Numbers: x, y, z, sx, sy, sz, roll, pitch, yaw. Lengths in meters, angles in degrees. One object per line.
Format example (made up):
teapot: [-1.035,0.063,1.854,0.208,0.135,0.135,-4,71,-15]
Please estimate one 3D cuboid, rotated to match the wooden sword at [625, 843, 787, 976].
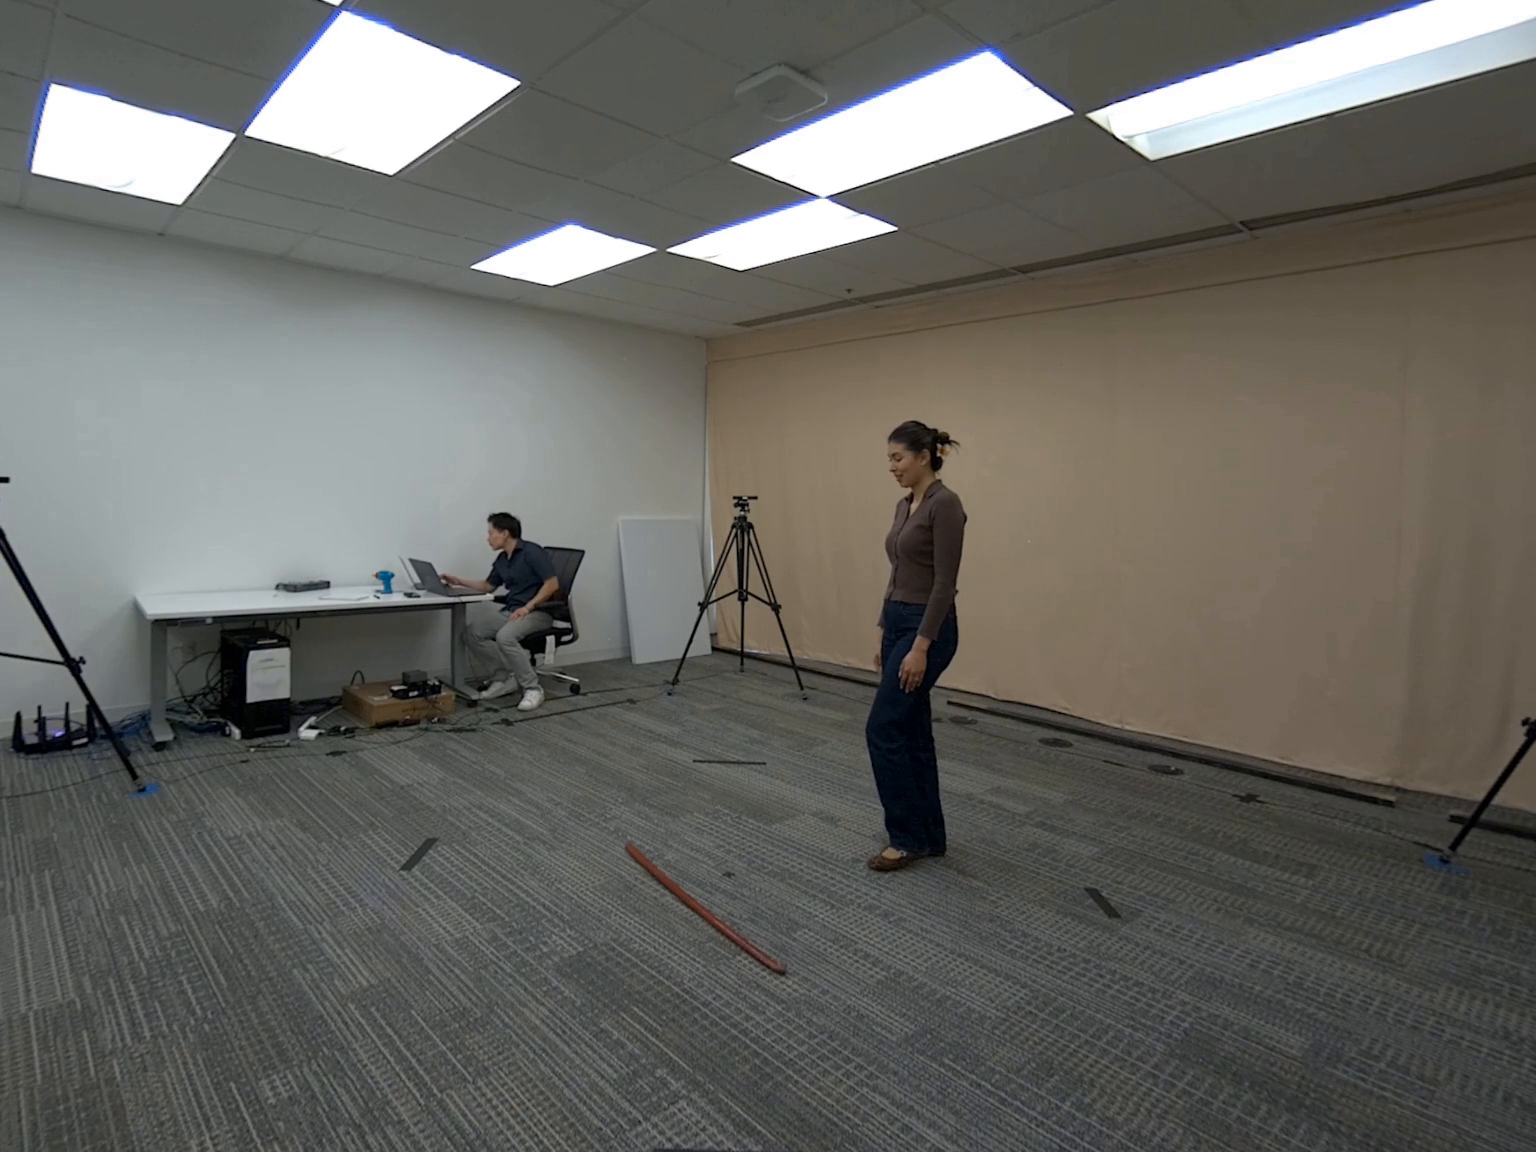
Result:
wooden sword: [-0.259,1.102,2.879,0.051,0.023,1.050,-38,25,-24]
